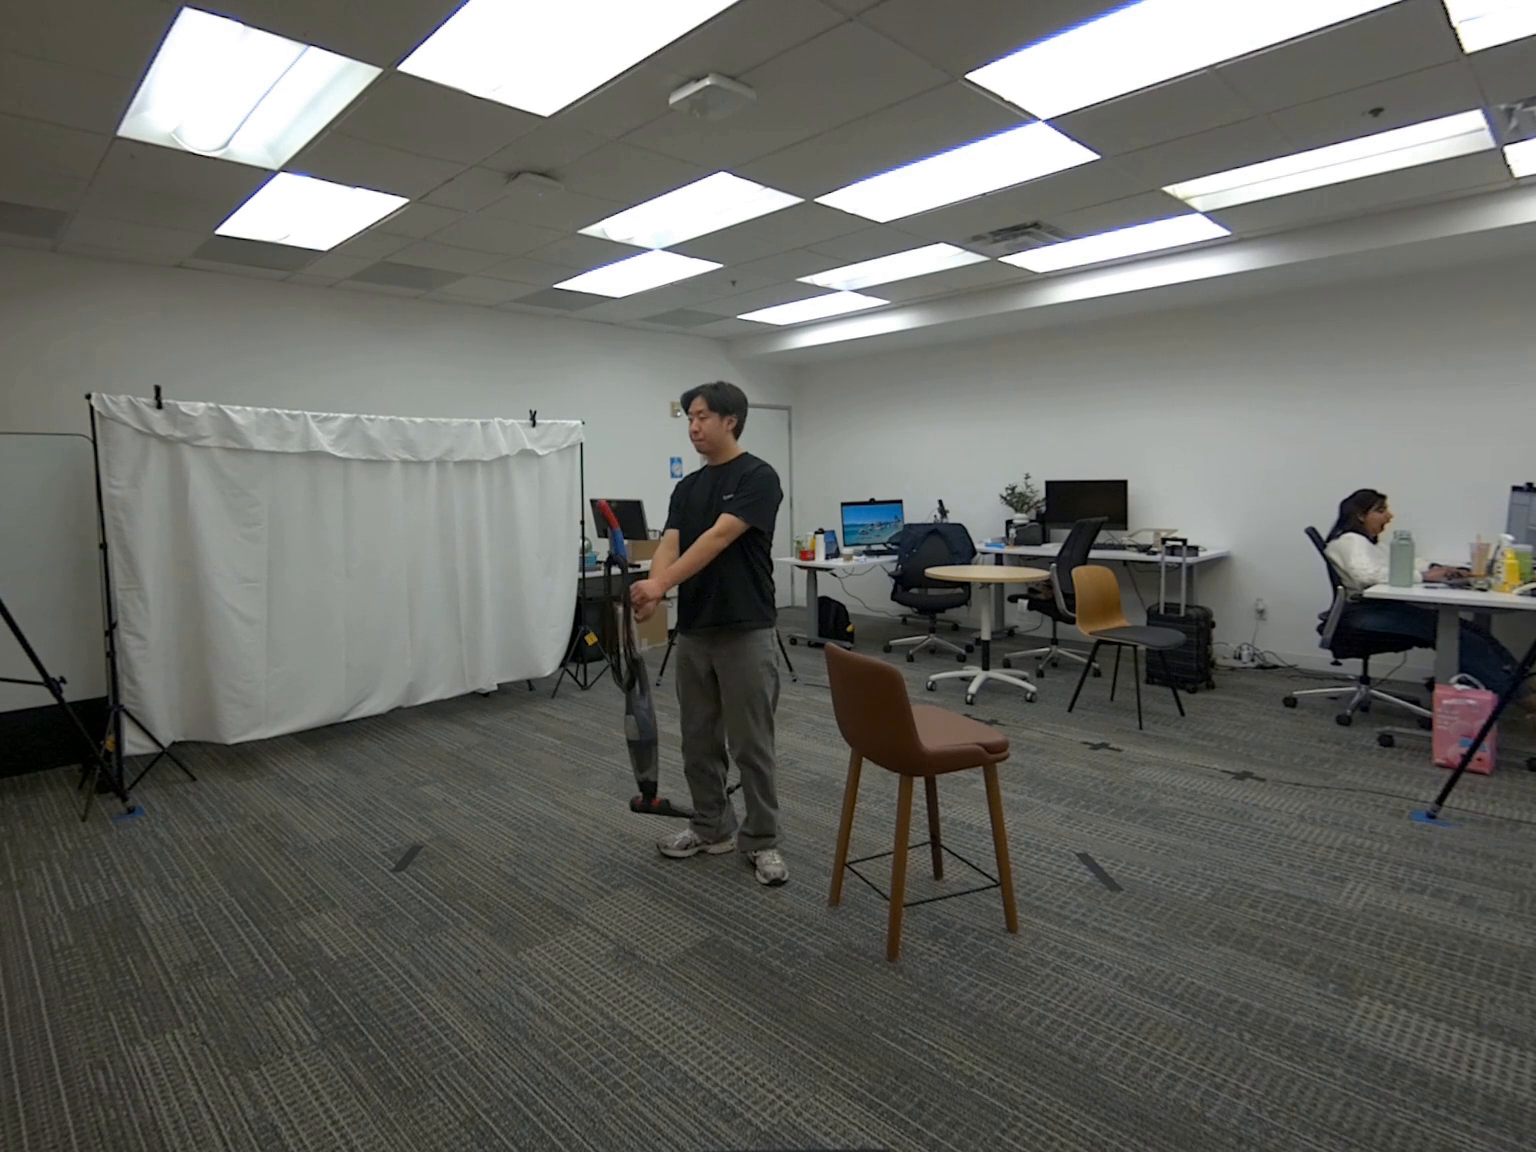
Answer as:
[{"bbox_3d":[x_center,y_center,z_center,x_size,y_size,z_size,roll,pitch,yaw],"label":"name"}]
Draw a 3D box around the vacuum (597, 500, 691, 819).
[{"bbox_3d":[-0.453,0.278,2.788,0.259,1.040,0.142,-4,9,32],"label":"vacuum"}]
